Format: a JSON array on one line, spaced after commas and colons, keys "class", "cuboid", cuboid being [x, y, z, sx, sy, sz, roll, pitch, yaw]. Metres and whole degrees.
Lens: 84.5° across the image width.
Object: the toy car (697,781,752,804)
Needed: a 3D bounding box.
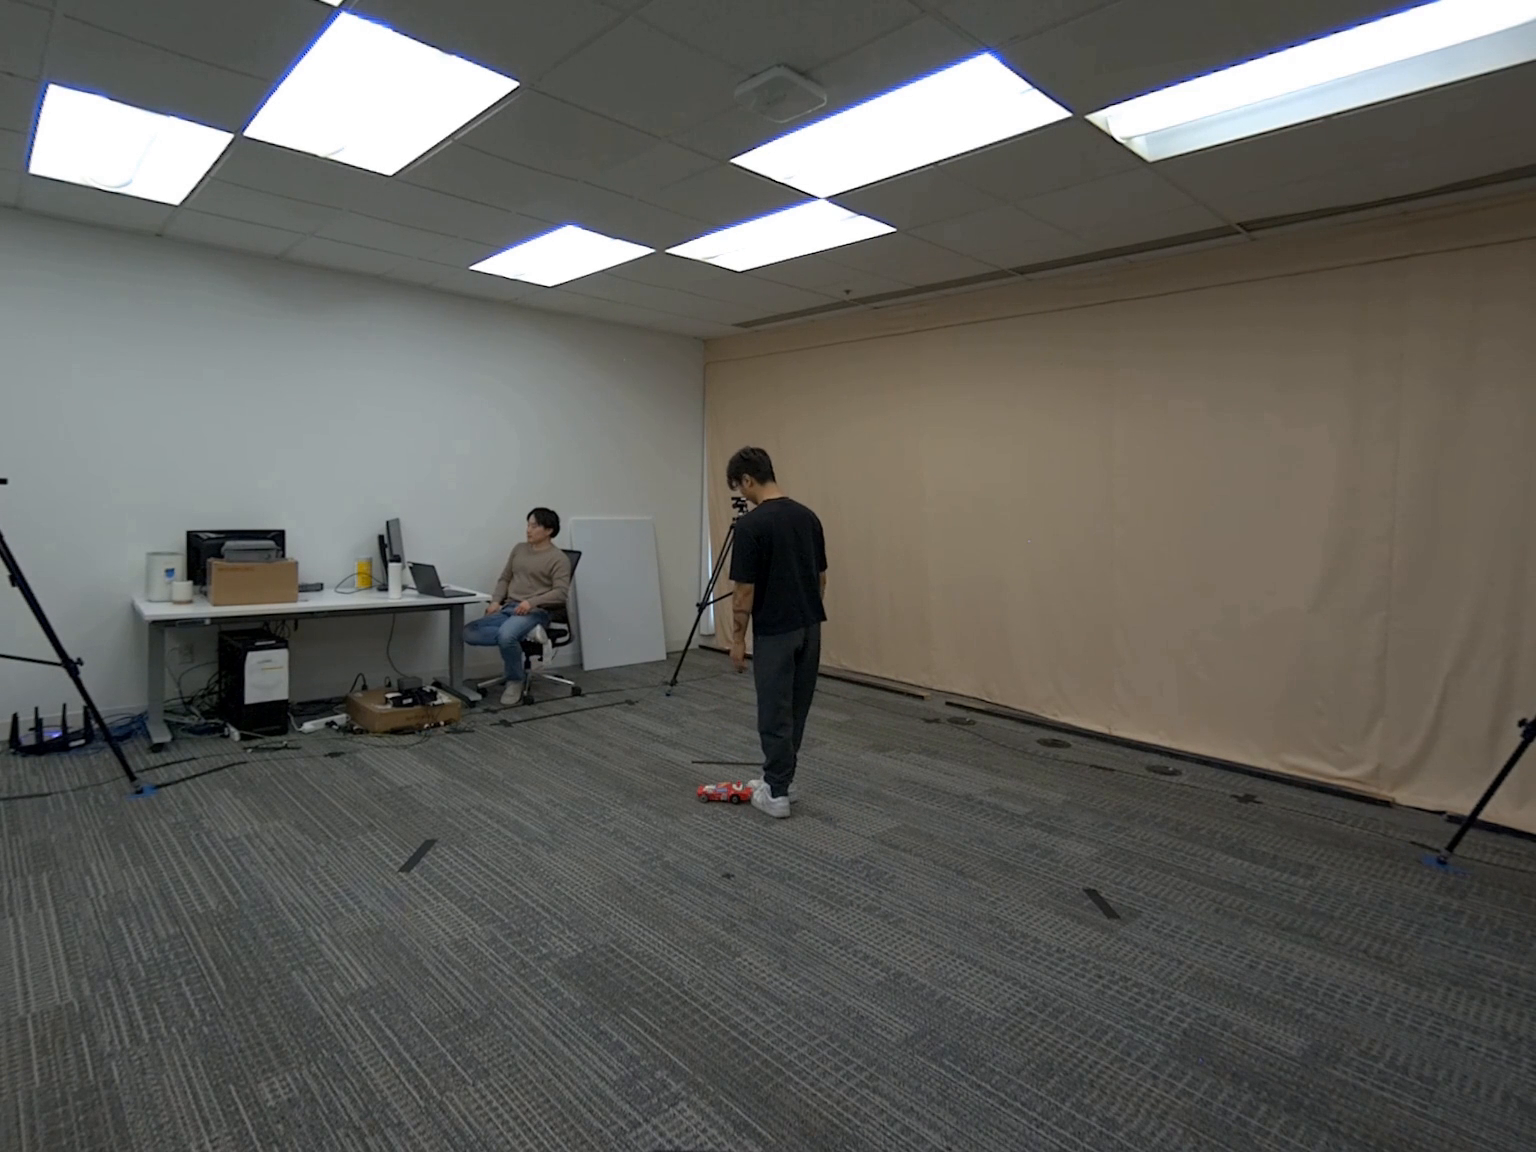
[{"class": "toy car", "cuboid": [-0.196, 0.993, 3.892, 0.255, 0.083, 0.130, -9, 4, 2]}]
